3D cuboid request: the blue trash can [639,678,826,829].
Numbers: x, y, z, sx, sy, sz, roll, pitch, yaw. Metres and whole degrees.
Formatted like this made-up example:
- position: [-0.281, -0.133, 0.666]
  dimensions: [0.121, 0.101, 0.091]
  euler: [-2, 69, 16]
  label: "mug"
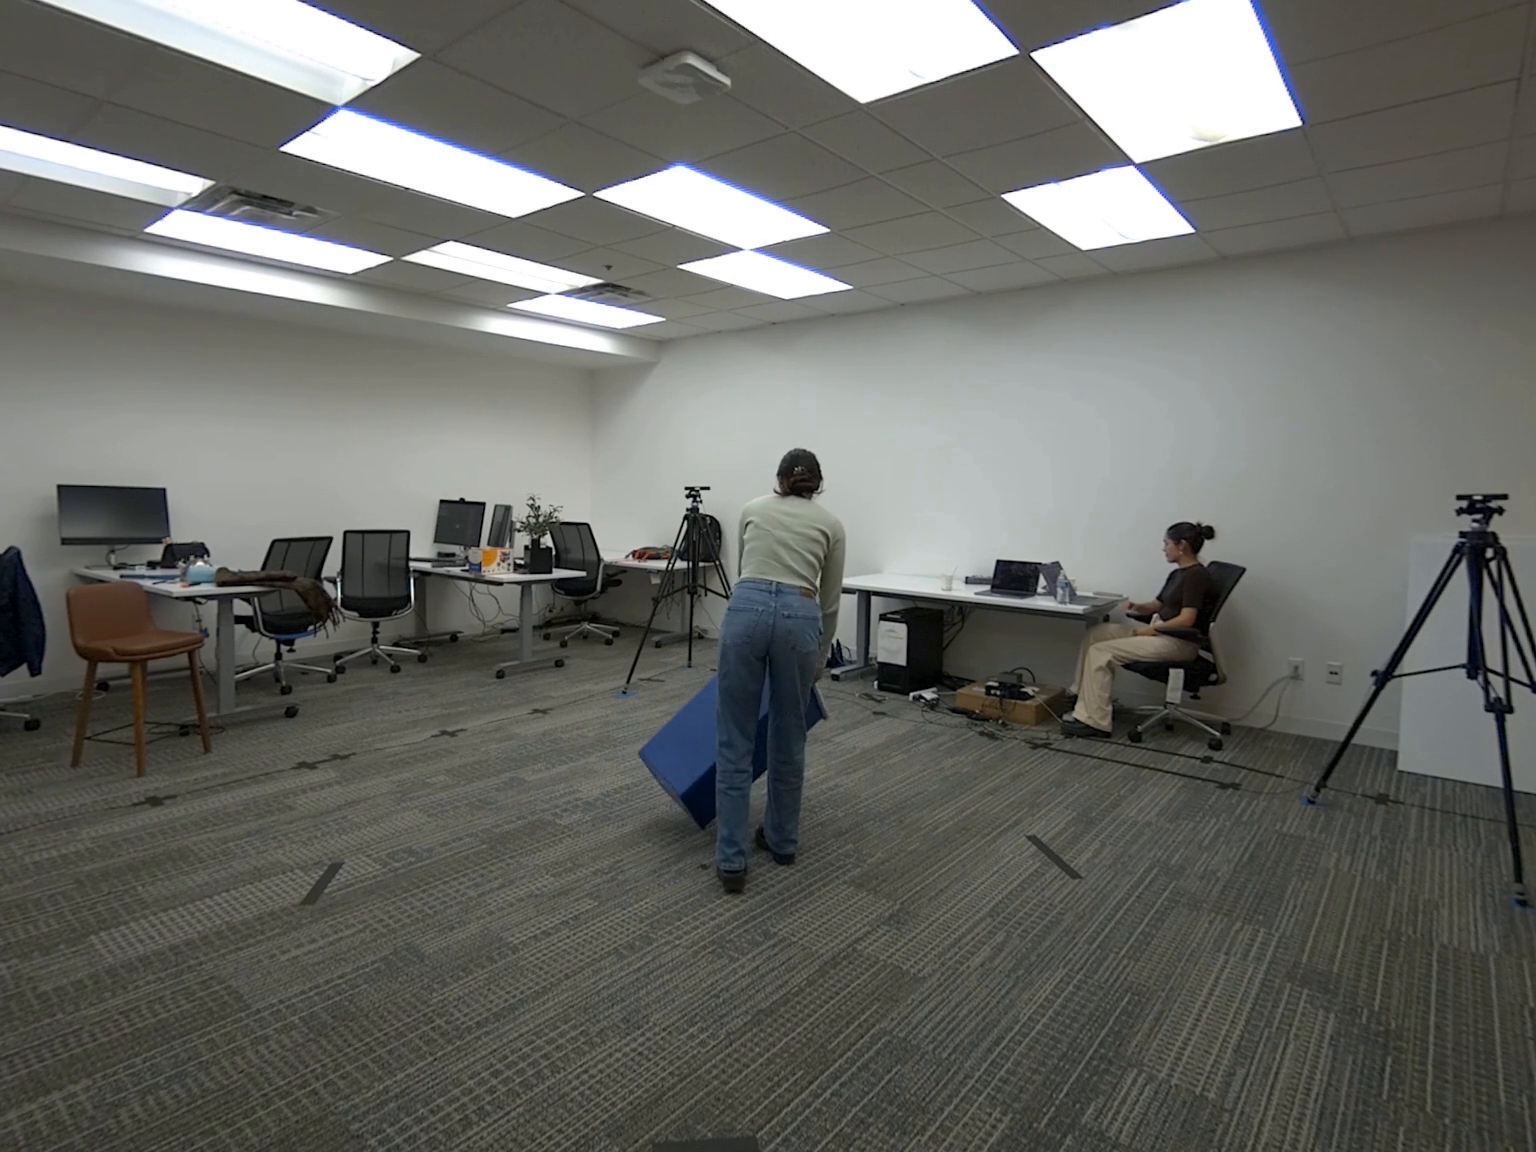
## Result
- position: [-0.160, 0.642, 3.547]
  dimensions: [0.711, 0.360, 0.394]
  euler: [-42, 50, -17]
  label: "blue trash can"
